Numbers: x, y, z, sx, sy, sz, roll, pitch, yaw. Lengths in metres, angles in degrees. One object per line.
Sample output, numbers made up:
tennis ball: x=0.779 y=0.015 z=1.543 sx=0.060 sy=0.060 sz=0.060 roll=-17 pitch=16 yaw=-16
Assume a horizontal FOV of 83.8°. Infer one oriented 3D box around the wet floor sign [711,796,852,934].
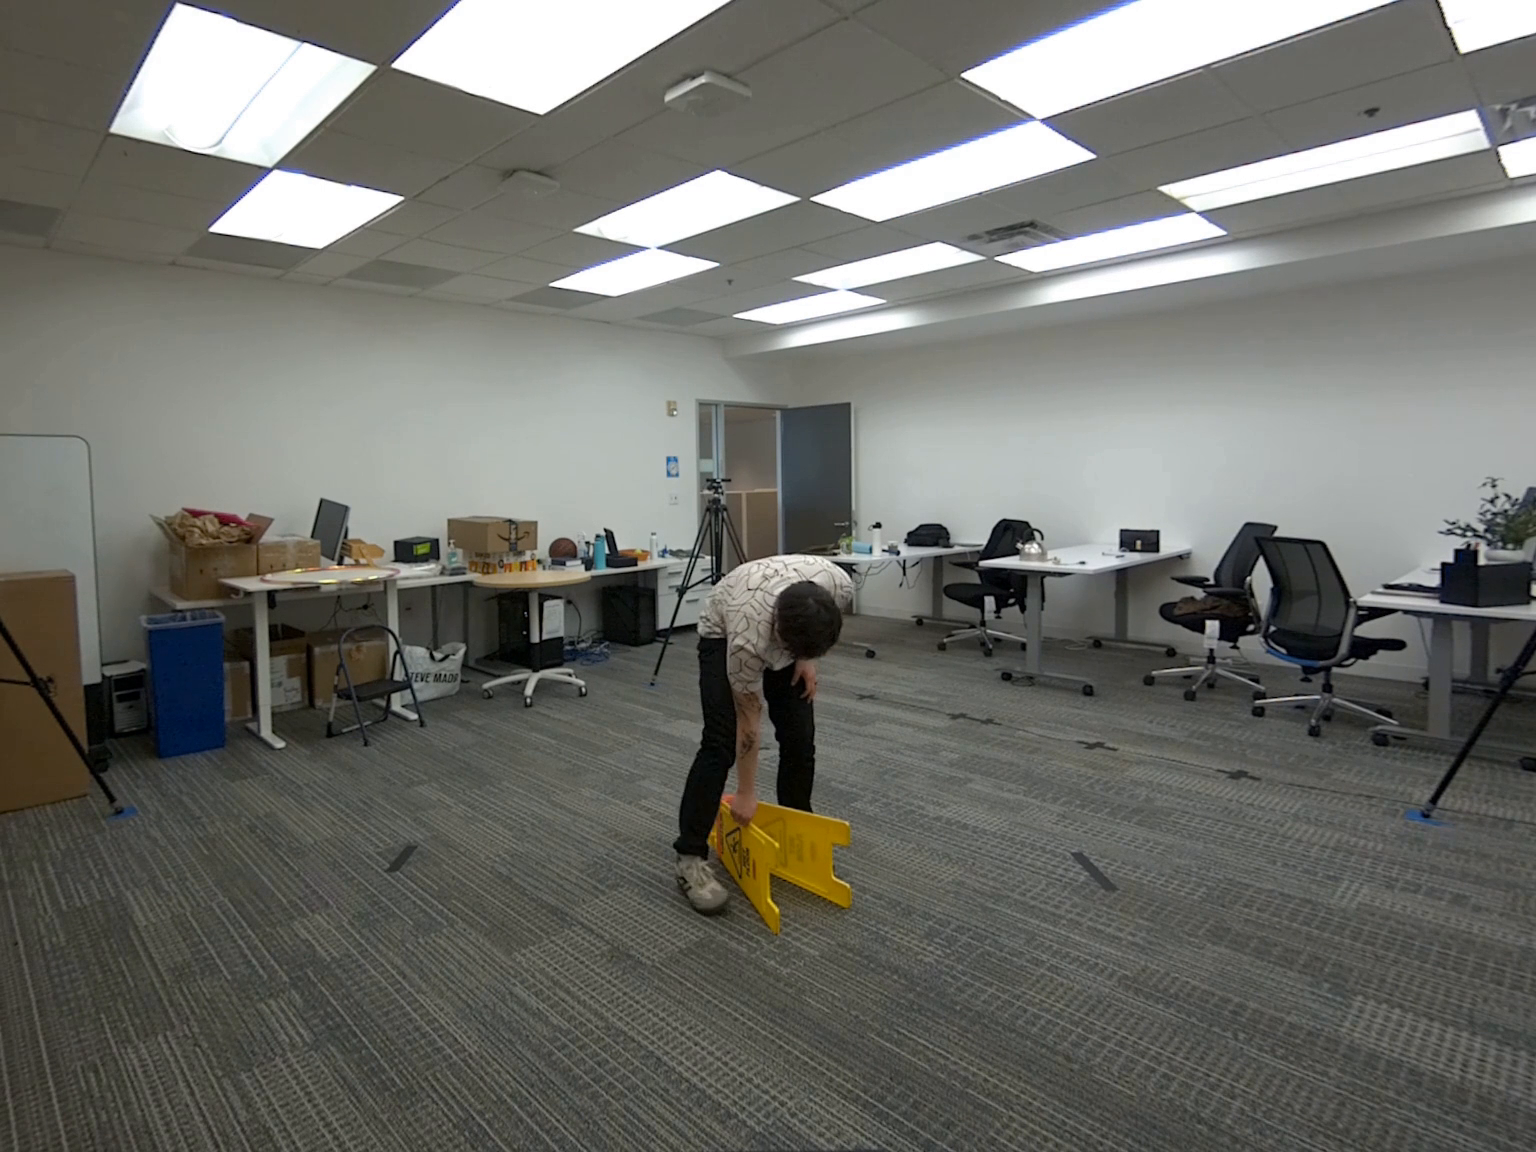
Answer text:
wet floor sign: x=-0.036 y=0.931 z=2.957 sx=0.282 sy=0.281 sz=0.664 roll=-3 pitch=4 yaw=-34
